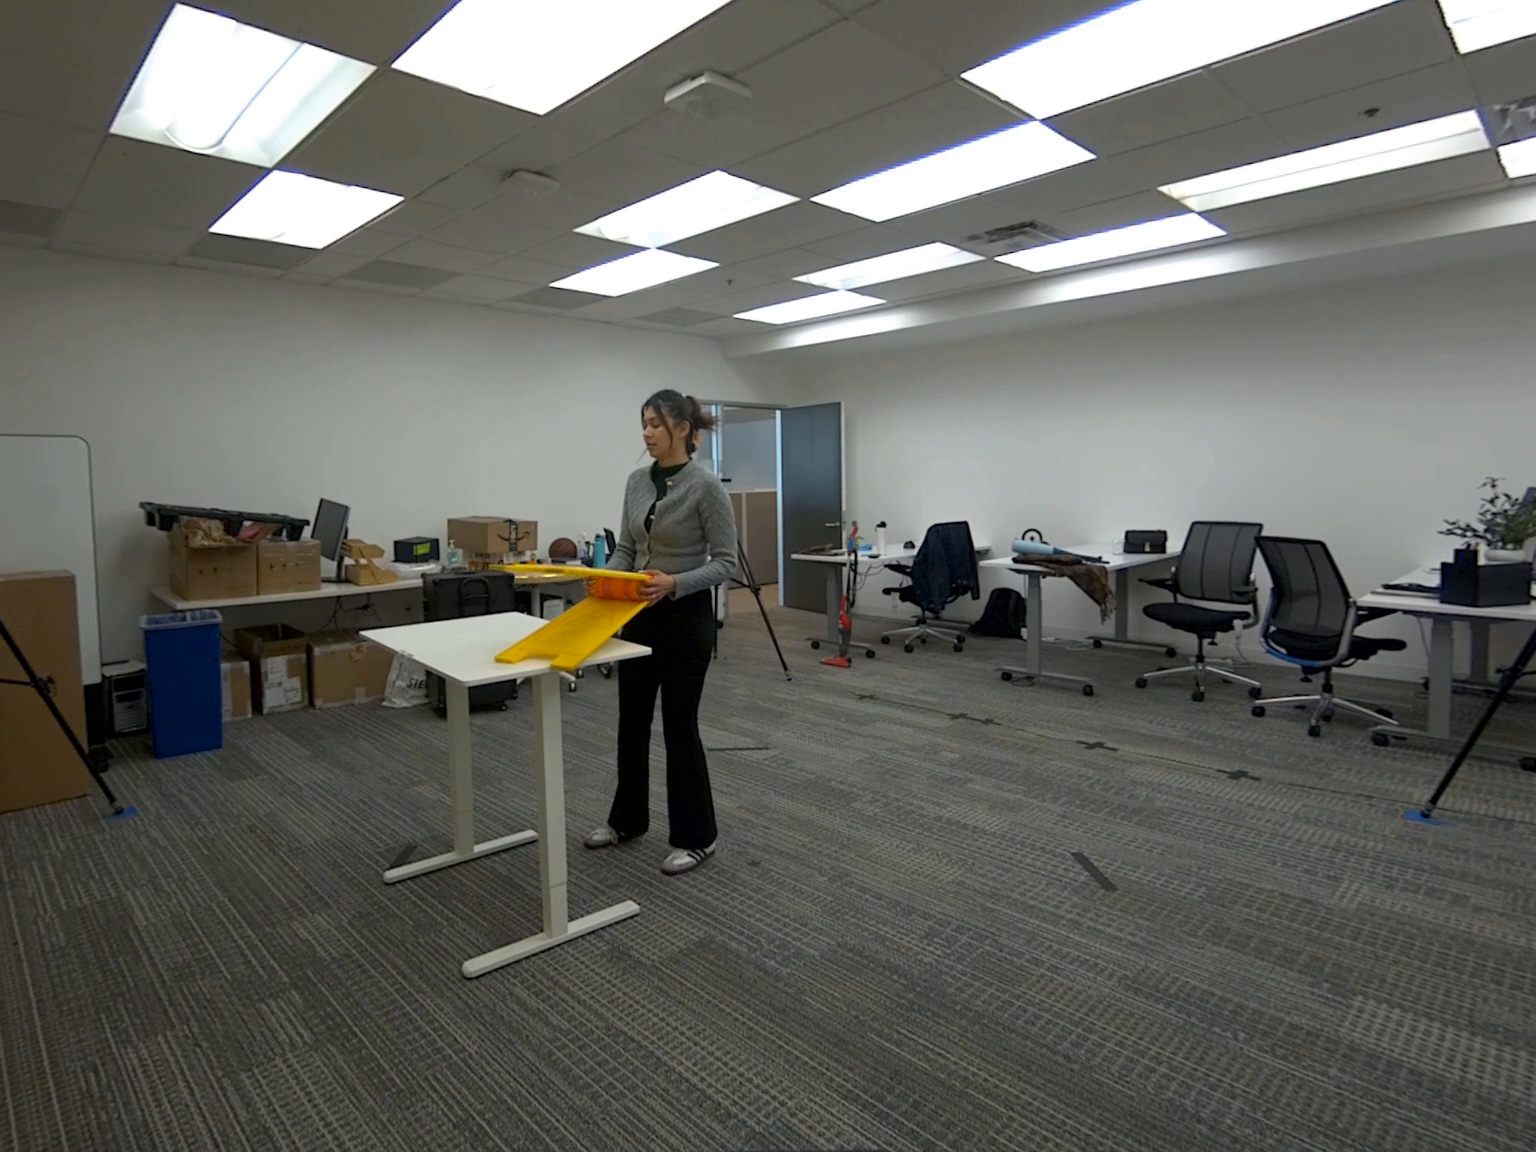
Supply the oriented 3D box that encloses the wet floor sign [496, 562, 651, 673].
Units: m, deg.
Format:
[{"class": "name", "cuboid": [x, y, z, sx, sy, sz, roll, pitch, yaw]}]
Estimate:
[{"class": "wet floor sign", "cuboid": [-0.542, 0.066, 2.696, 0.289, 0.287, 0.636, 3, 11, 24]}]
